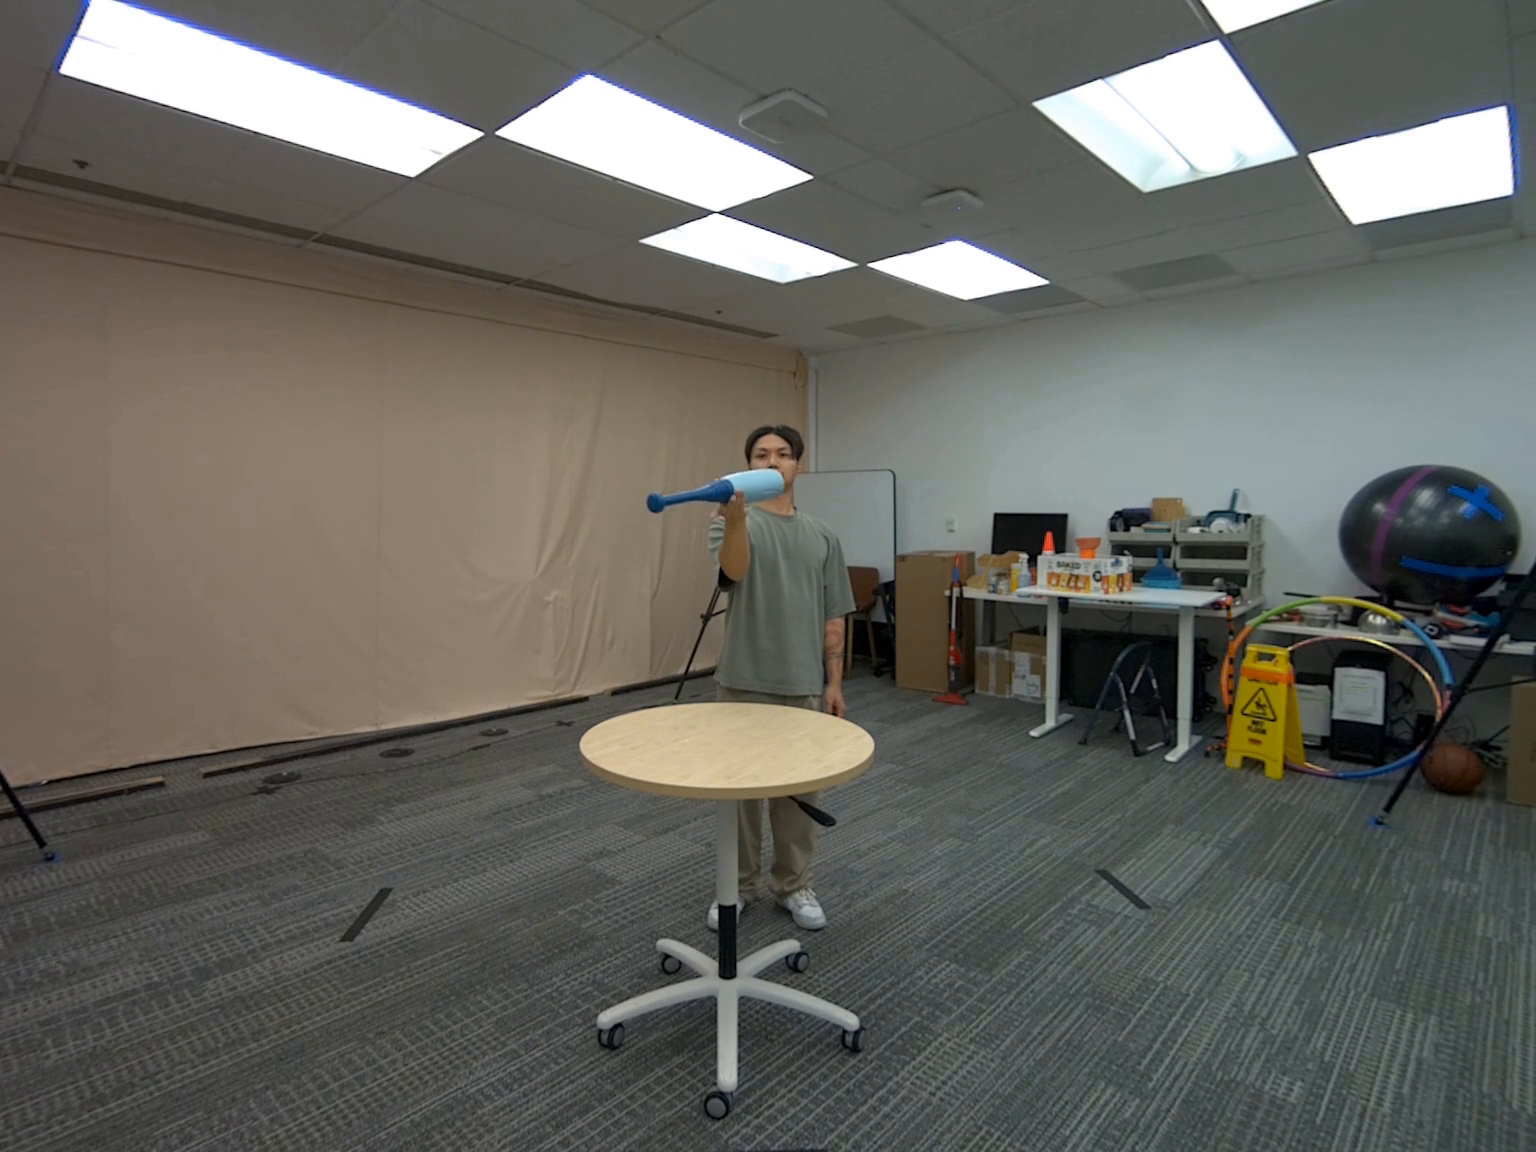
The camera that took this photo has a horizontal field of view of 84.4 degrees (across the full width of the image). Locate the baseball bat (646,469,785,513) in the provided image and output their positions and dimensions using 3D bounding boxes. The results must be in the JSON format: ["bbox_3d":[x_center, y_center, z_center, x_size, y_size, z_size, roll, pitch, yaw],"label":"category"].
[{"bbox_3d":[-0.120,-0.219,2.207,0.092,0.088,0.530,2,13,35],"label":"baseball bat"}]
